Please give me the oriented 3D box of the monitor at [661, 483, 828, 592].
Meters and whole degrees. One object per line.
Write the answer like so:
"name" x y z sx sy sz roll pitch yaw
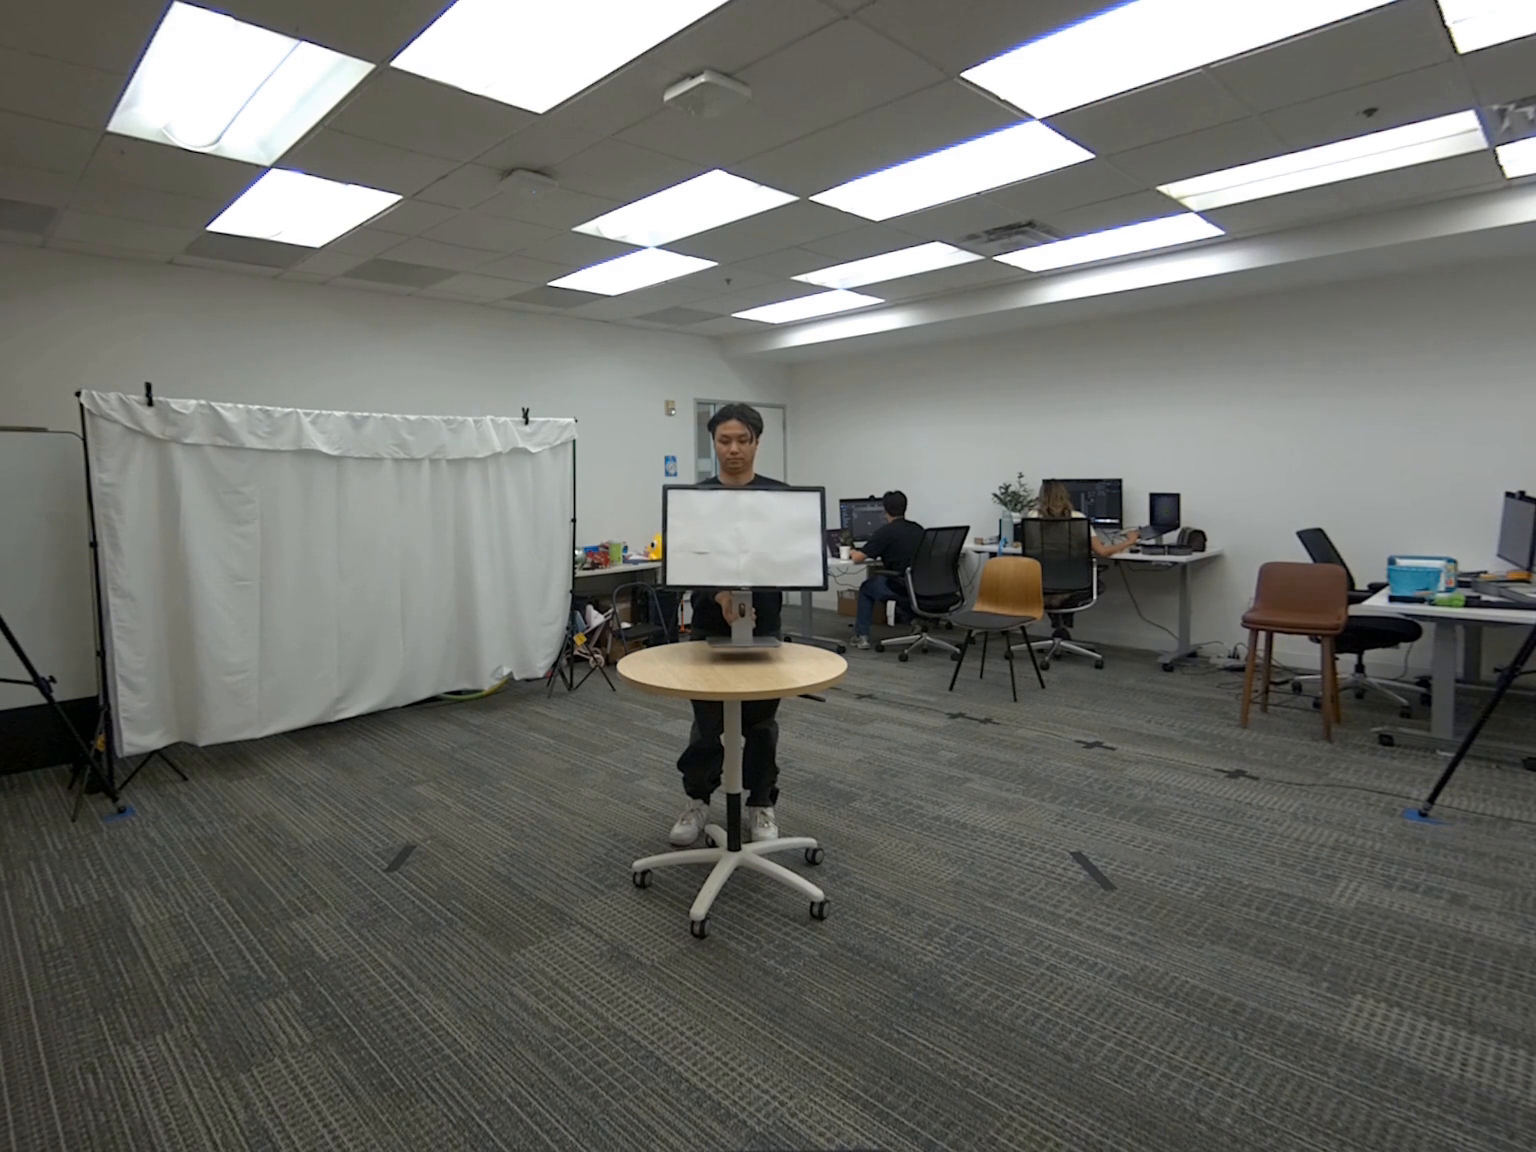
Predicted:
"monitor" -0.095 -0.024 2.931 0.536 0.523 0.188 0 0 -6
